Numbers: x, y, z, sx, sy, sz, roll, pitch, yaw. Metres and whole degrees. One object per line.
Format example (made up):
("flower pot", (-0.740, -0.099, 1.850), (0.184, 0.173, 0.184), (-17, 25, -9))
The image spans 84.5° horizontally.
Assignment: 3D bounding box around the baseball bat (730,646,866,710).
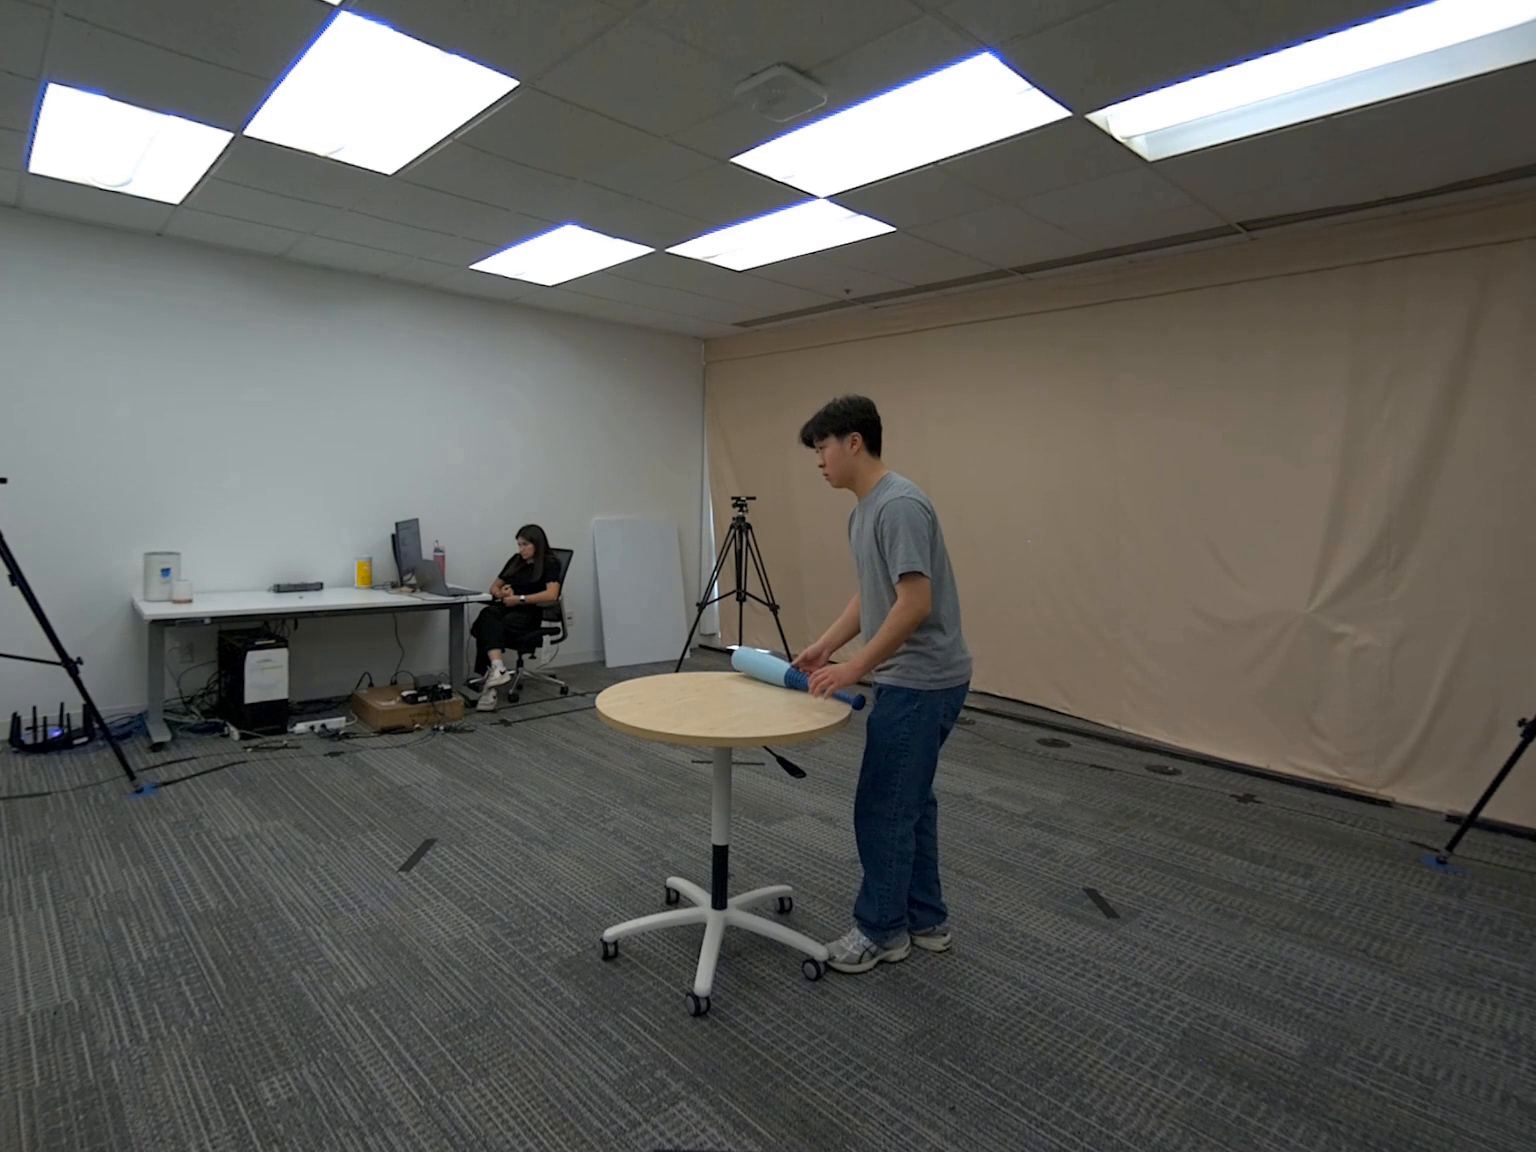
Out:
("baseball bat", (0.088, 0.339, 2.681), (0.087, 0.088, 0.559), (-3, 14, -44))
